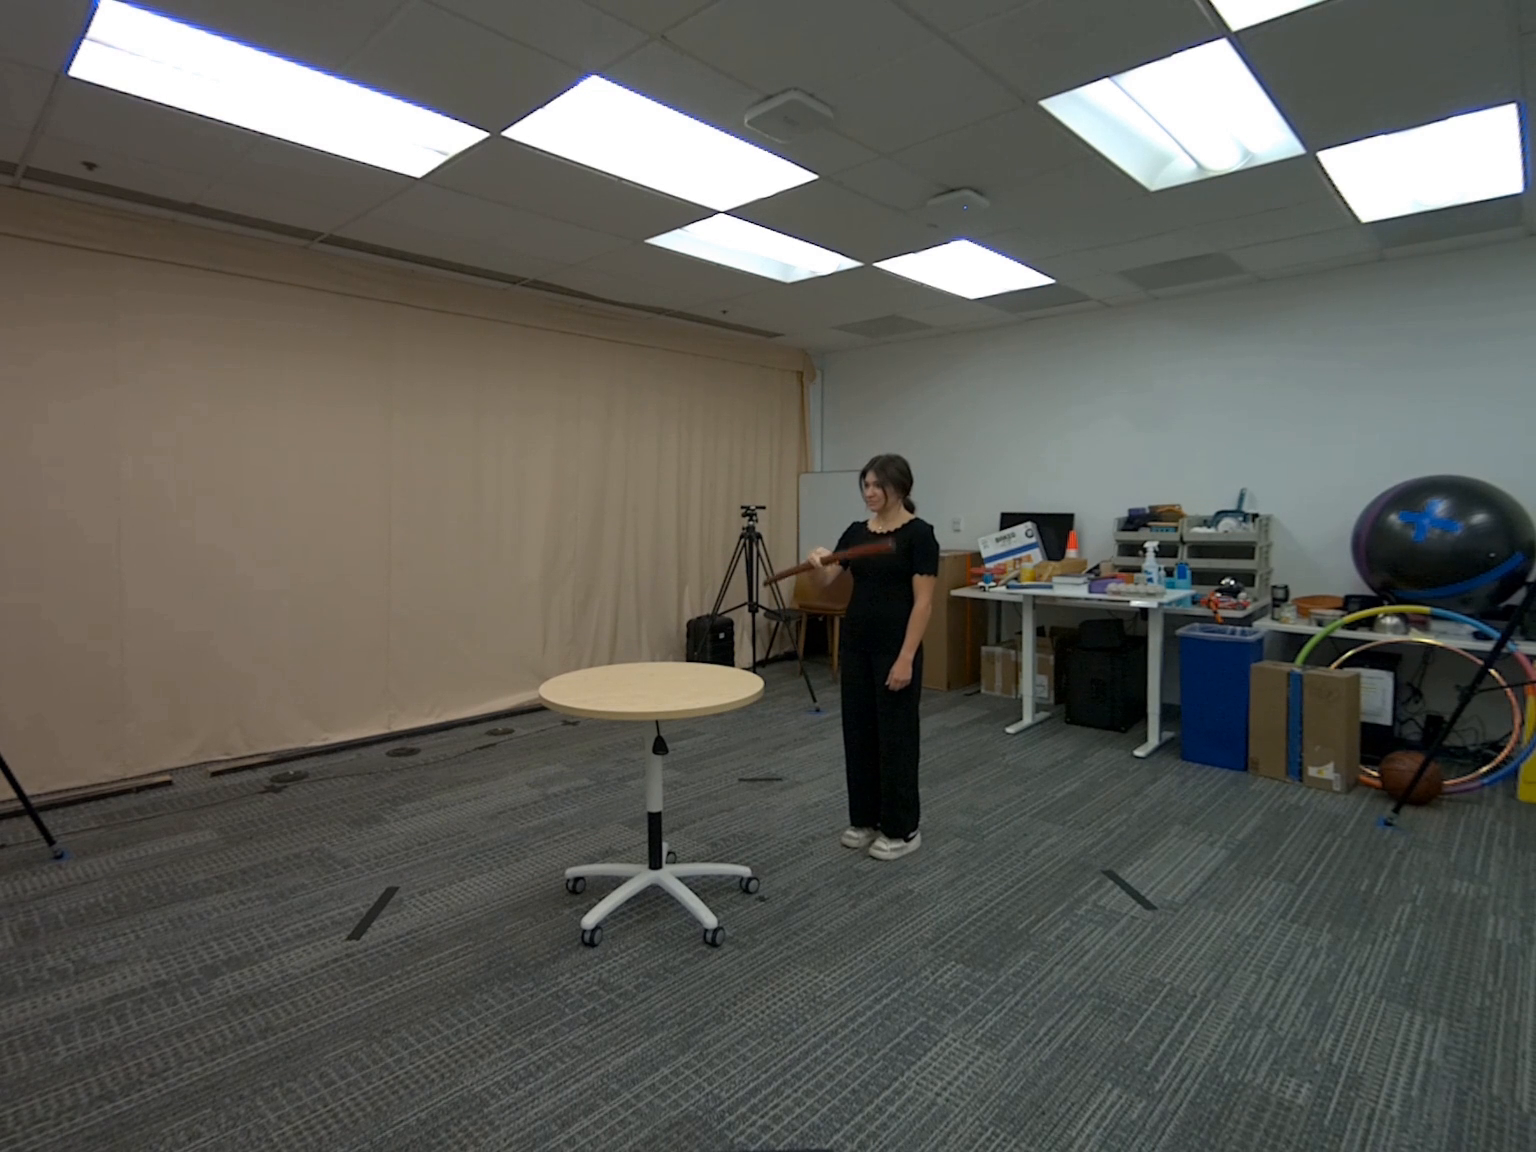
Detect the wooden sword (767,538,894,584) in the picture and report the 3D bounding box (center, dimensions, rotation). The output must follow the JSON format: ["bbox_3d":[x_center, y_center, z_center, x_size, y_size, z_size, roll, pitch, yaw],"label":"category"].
[{"bbox_3d":[0.193,-0.045,3.240,0.024,0.051,1.041,-30,4,-25],"label":"wooden sword"}]
